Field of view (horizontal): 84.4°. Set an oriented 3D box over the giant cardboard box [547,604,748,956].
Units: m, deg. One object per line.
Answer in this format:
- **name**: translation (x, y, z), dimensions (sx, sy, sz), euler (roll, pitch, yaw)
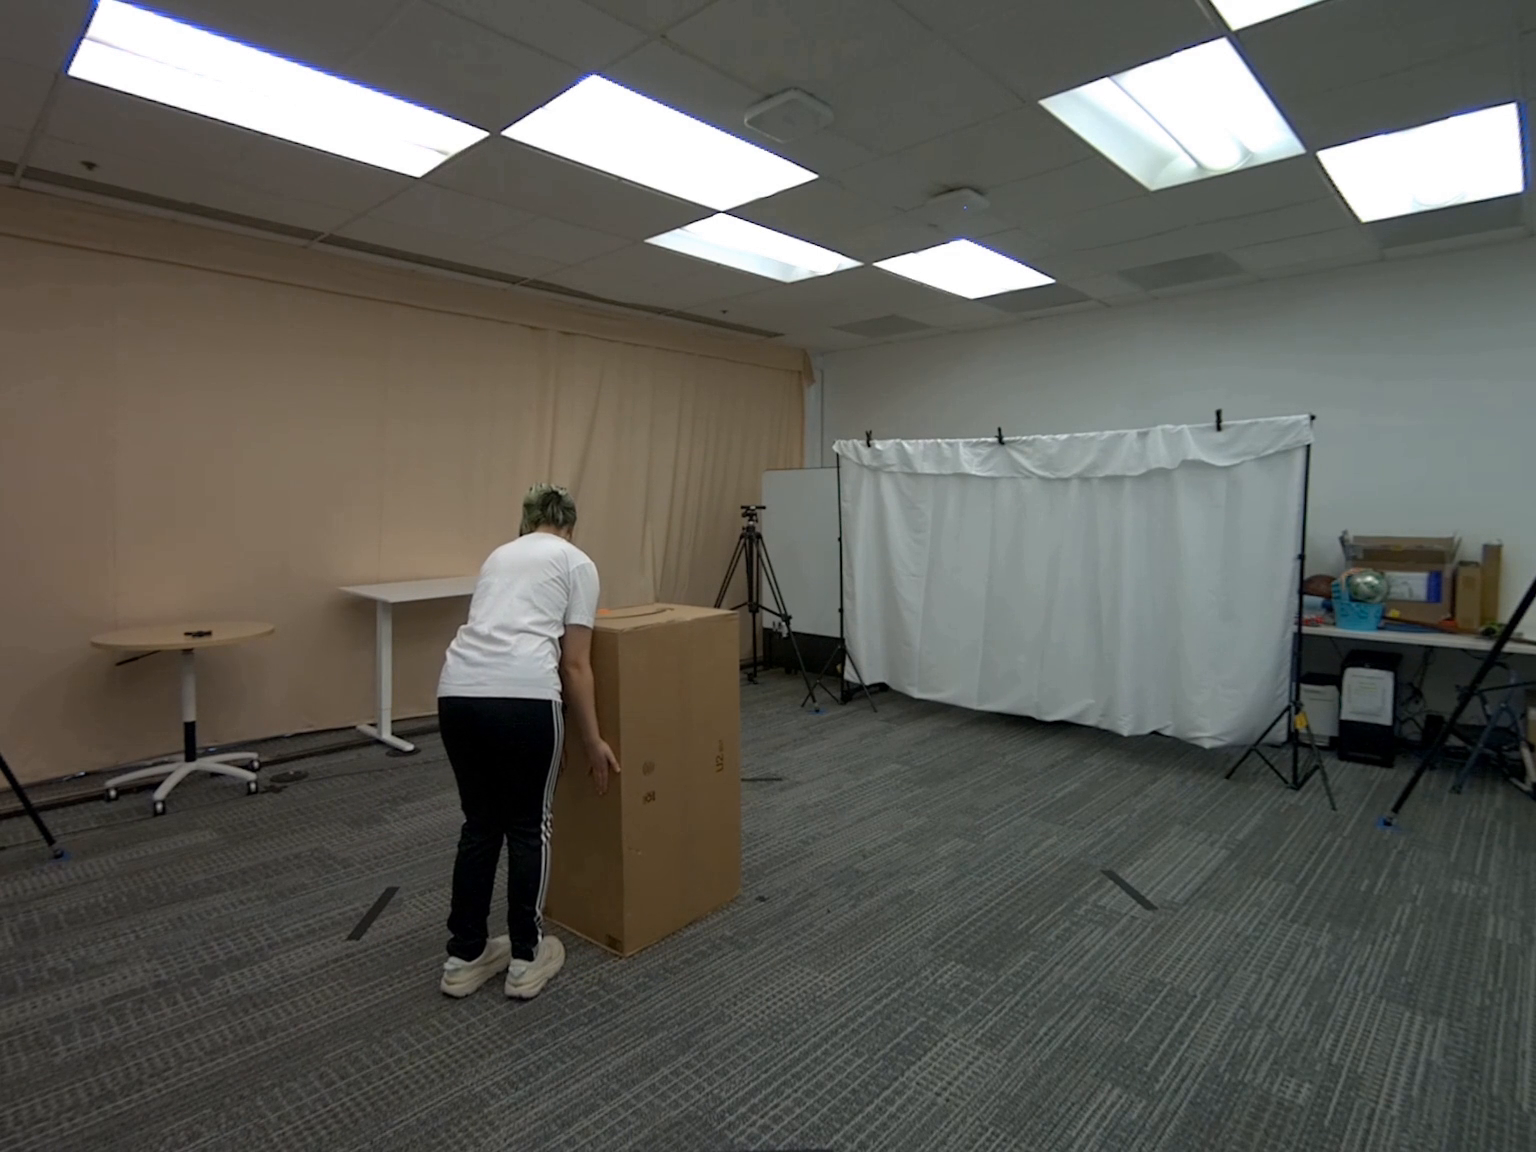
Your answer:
- **giant cardboard box**: translation (-0.436, 0.646, 2.916), dimensions (0.461, 1.025, 0.566), euler (3, 5, 39)
